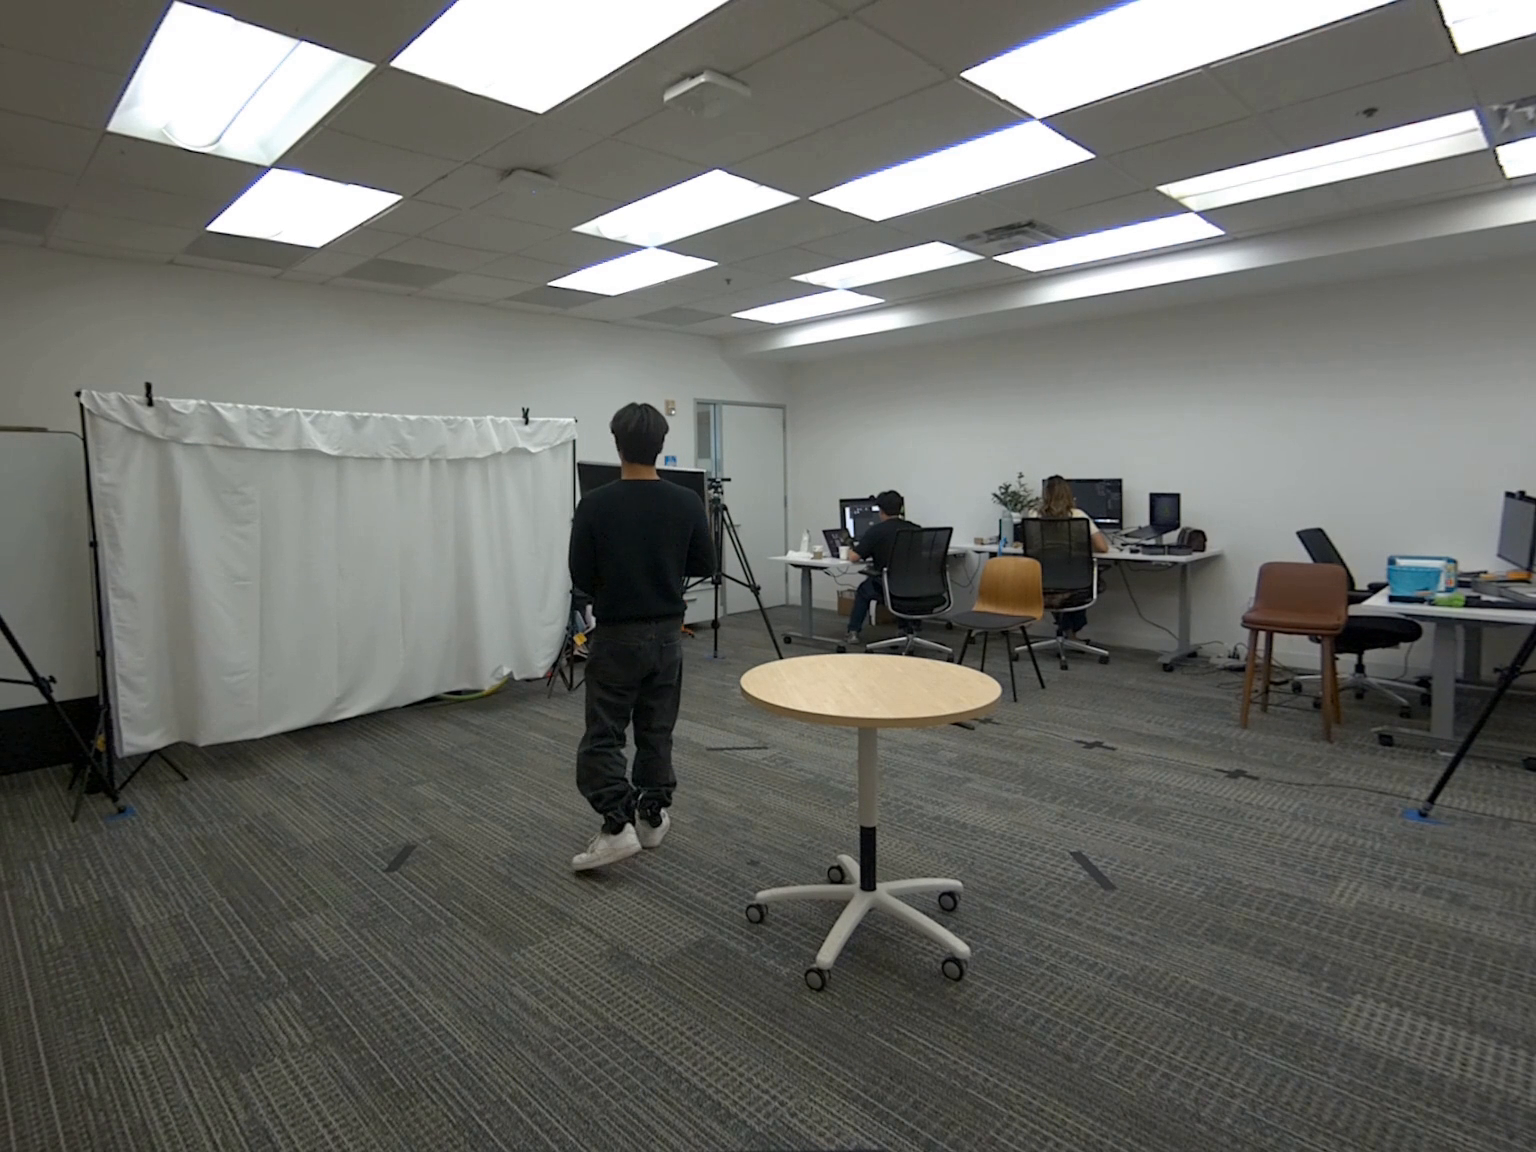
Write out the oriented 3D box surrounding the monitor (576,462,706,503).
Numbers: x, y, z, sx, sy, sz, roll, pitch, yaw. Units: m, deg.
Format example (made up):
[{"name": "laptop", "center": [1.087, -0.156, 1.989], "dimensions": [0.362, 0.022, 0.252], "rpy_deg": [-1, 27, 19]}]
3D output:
[{"name": "monitor", "center": [-0.507, -0.177, 3.419], "dimensions": [0.540, 0.513, 0.172], "rpy_deg": [6, 7, 19]}]
